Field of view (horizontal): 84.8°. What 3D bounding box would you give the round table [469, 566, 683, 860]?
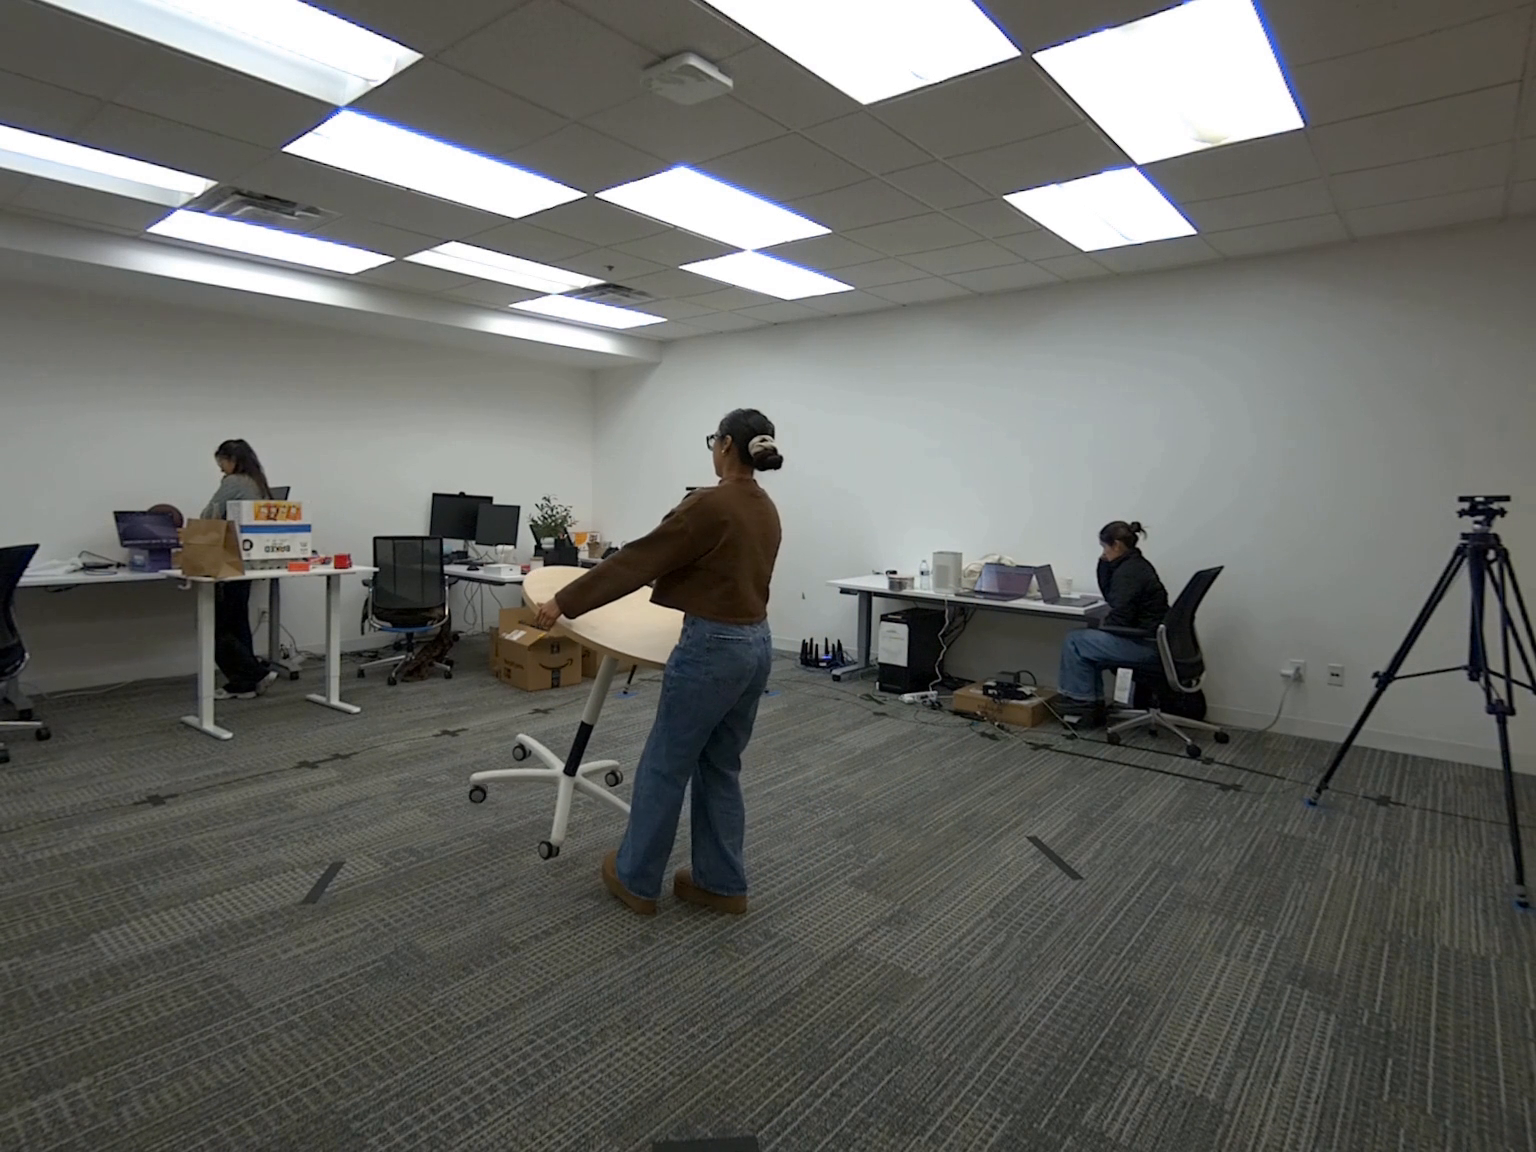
[{"bbox_3d":[-0.663,0.486,3.082,0.780,0.782,0.796,20,12,-6],"label":"round table"}]
